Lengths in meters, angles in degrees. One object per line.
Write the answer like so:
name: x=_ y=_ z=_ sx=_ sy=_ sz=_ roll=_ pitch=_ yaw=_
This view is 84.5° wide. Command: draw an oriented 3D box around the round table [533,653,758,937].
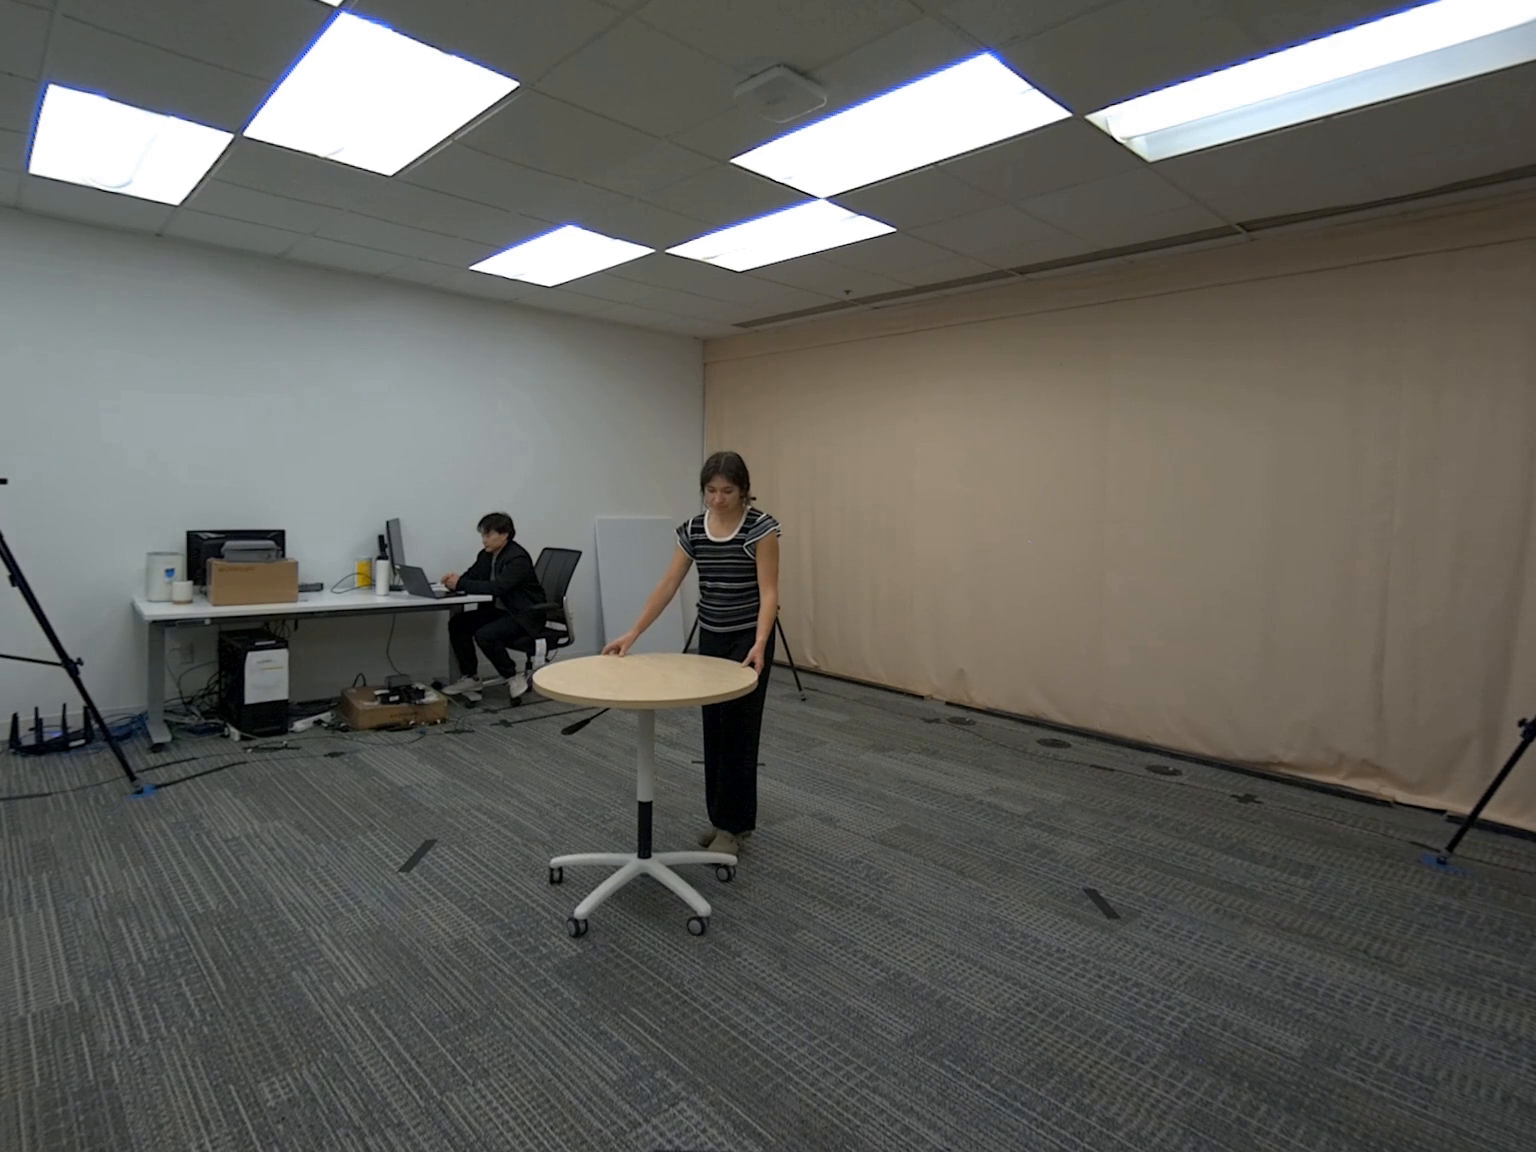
round table: x=-0.447 y=0.726 z=2.902 sx=0.784 sy=0.784 sz=0.787 roll=1 pitch=4 yaw=-1
